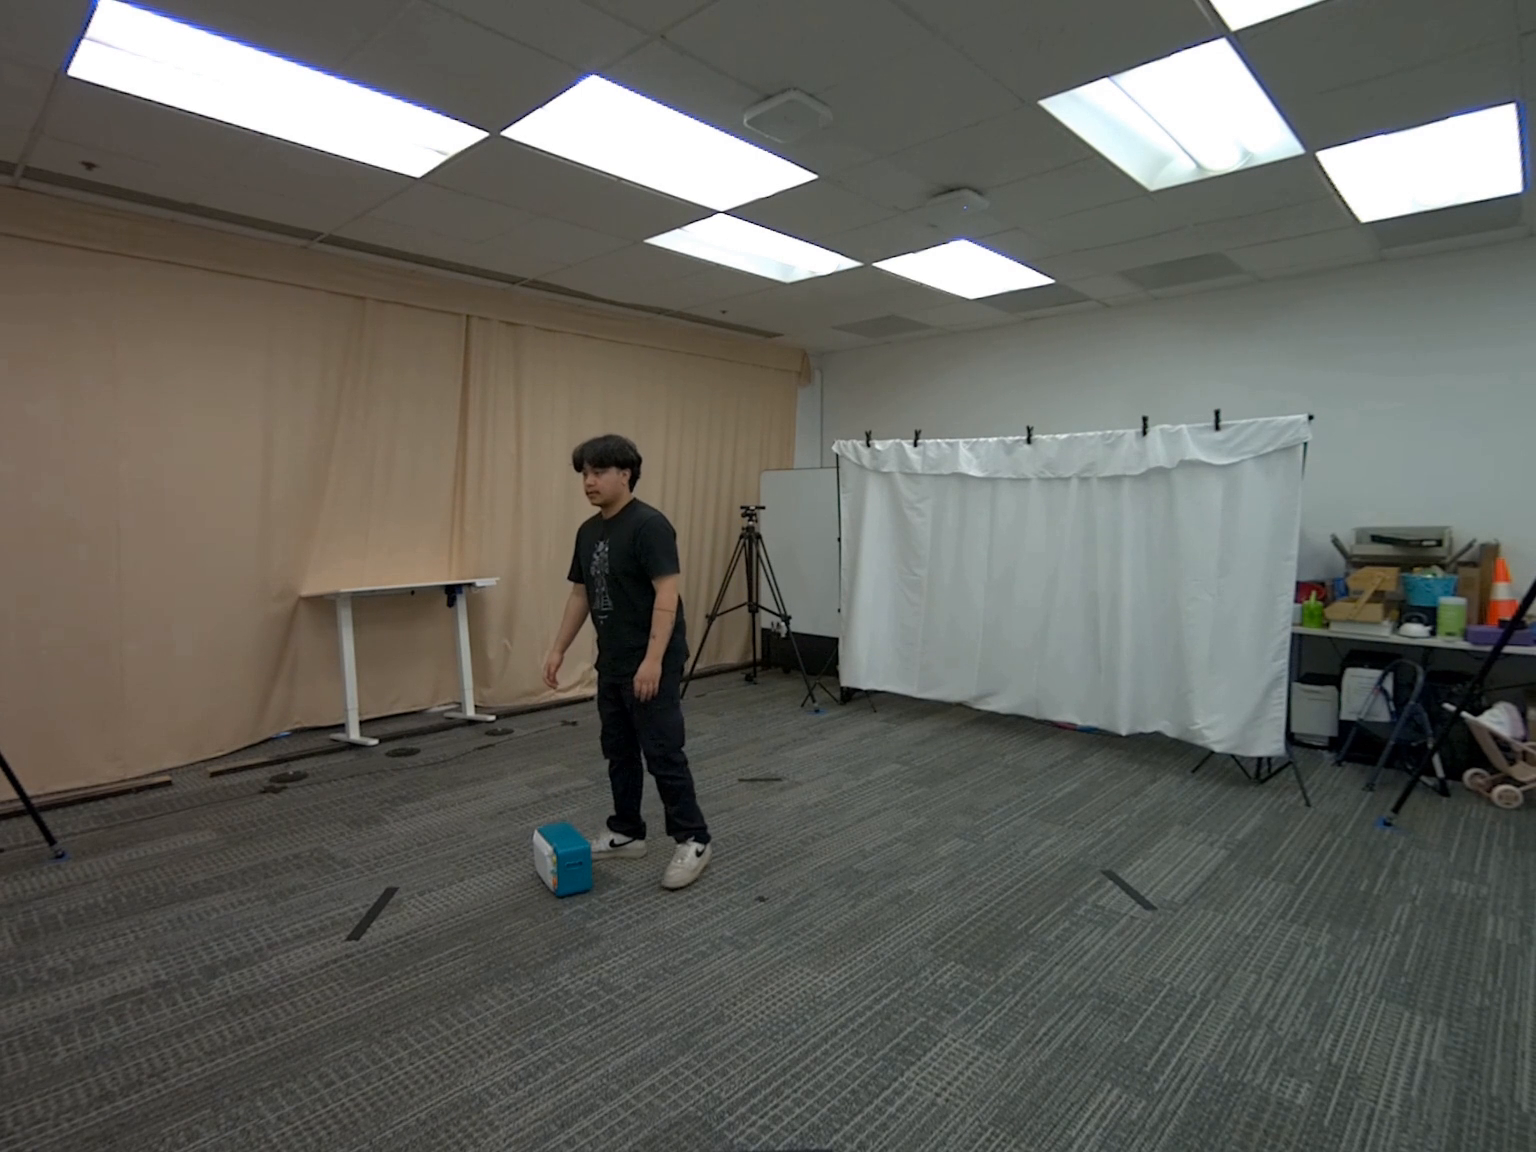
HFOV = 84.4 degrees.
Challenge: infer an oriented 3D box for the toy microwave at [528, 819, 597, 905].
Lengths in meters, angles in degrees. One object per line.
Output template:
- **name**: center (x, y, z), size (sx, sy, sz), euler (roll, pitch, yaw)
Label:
- **toy microwave**: center (-0.764, 1.048, 3.129), size (0.148, 0.184, 0.295), euler (-3, 4, -32)
